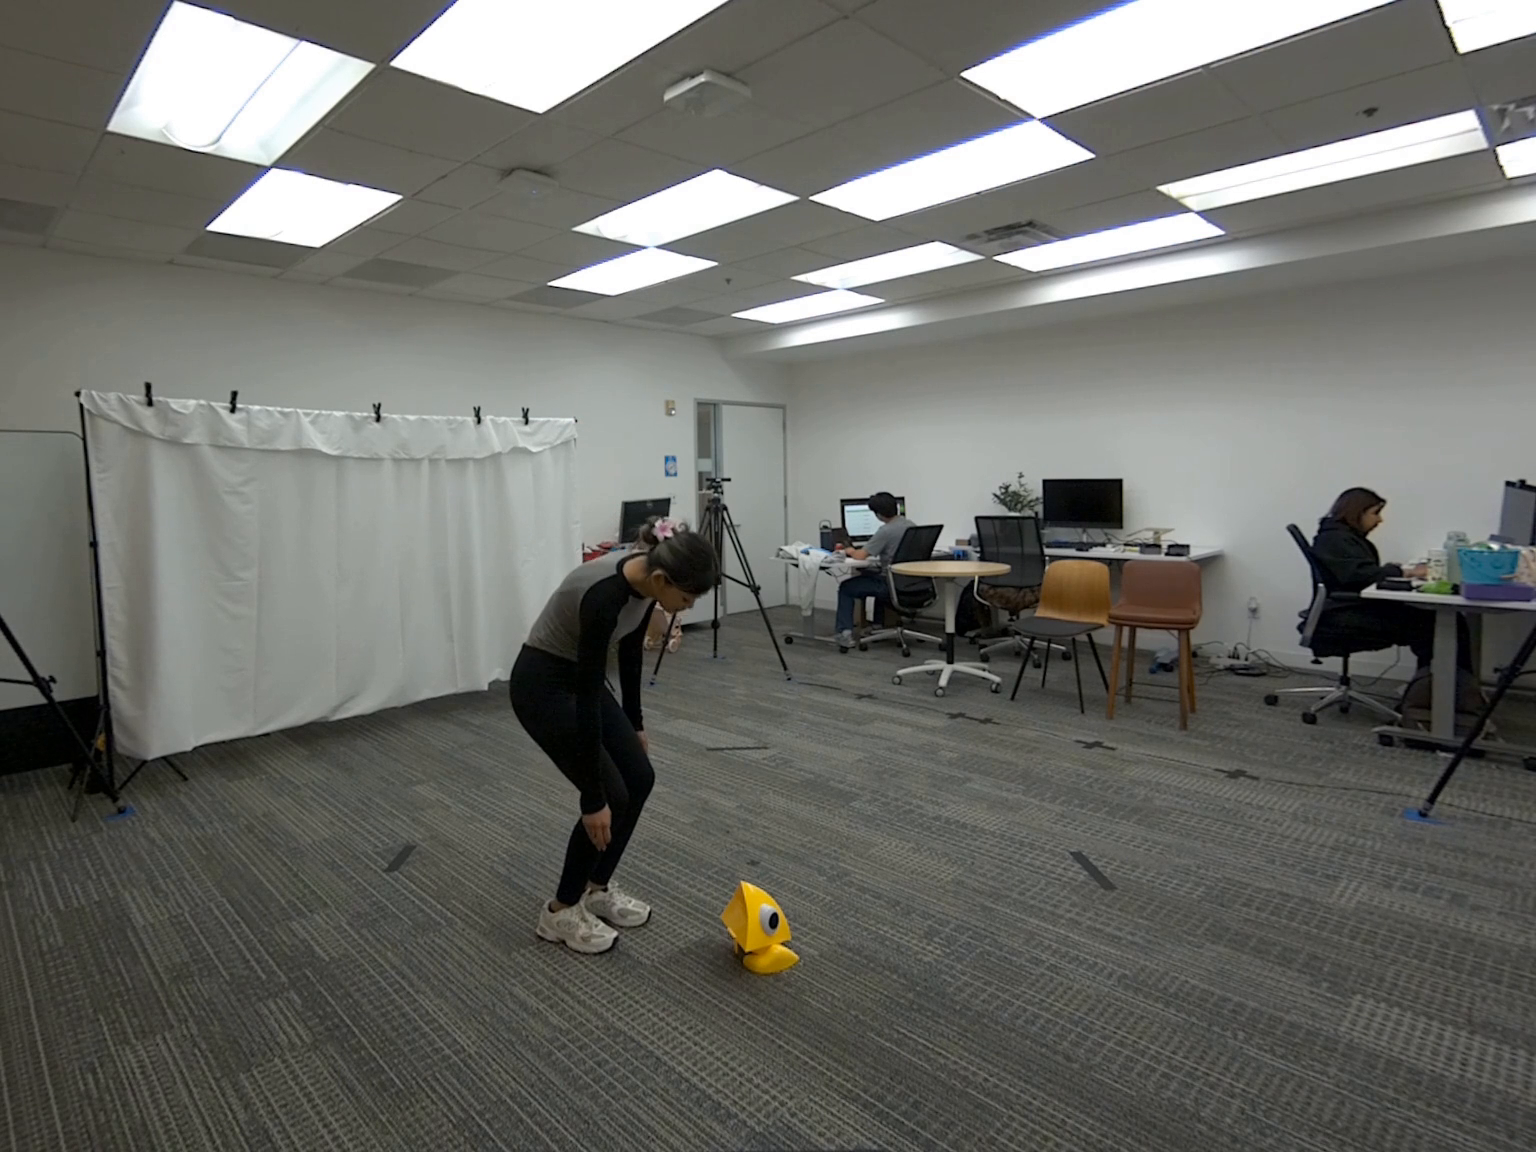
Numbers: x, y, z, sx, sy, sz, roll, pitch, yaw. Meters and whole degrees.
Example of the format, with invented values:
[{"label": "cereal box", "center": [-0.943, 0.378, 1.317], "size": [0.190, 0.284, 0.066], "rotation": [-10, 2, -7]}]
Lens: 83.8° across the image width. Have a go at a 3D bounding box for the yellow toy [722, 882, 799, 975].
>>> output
[{"label": "yellow toy", "center": [-0.025, 0.991, 2.503], "size": [0.190, 0.230, 0.209], "rotation": [-4, 4, -19]}]
